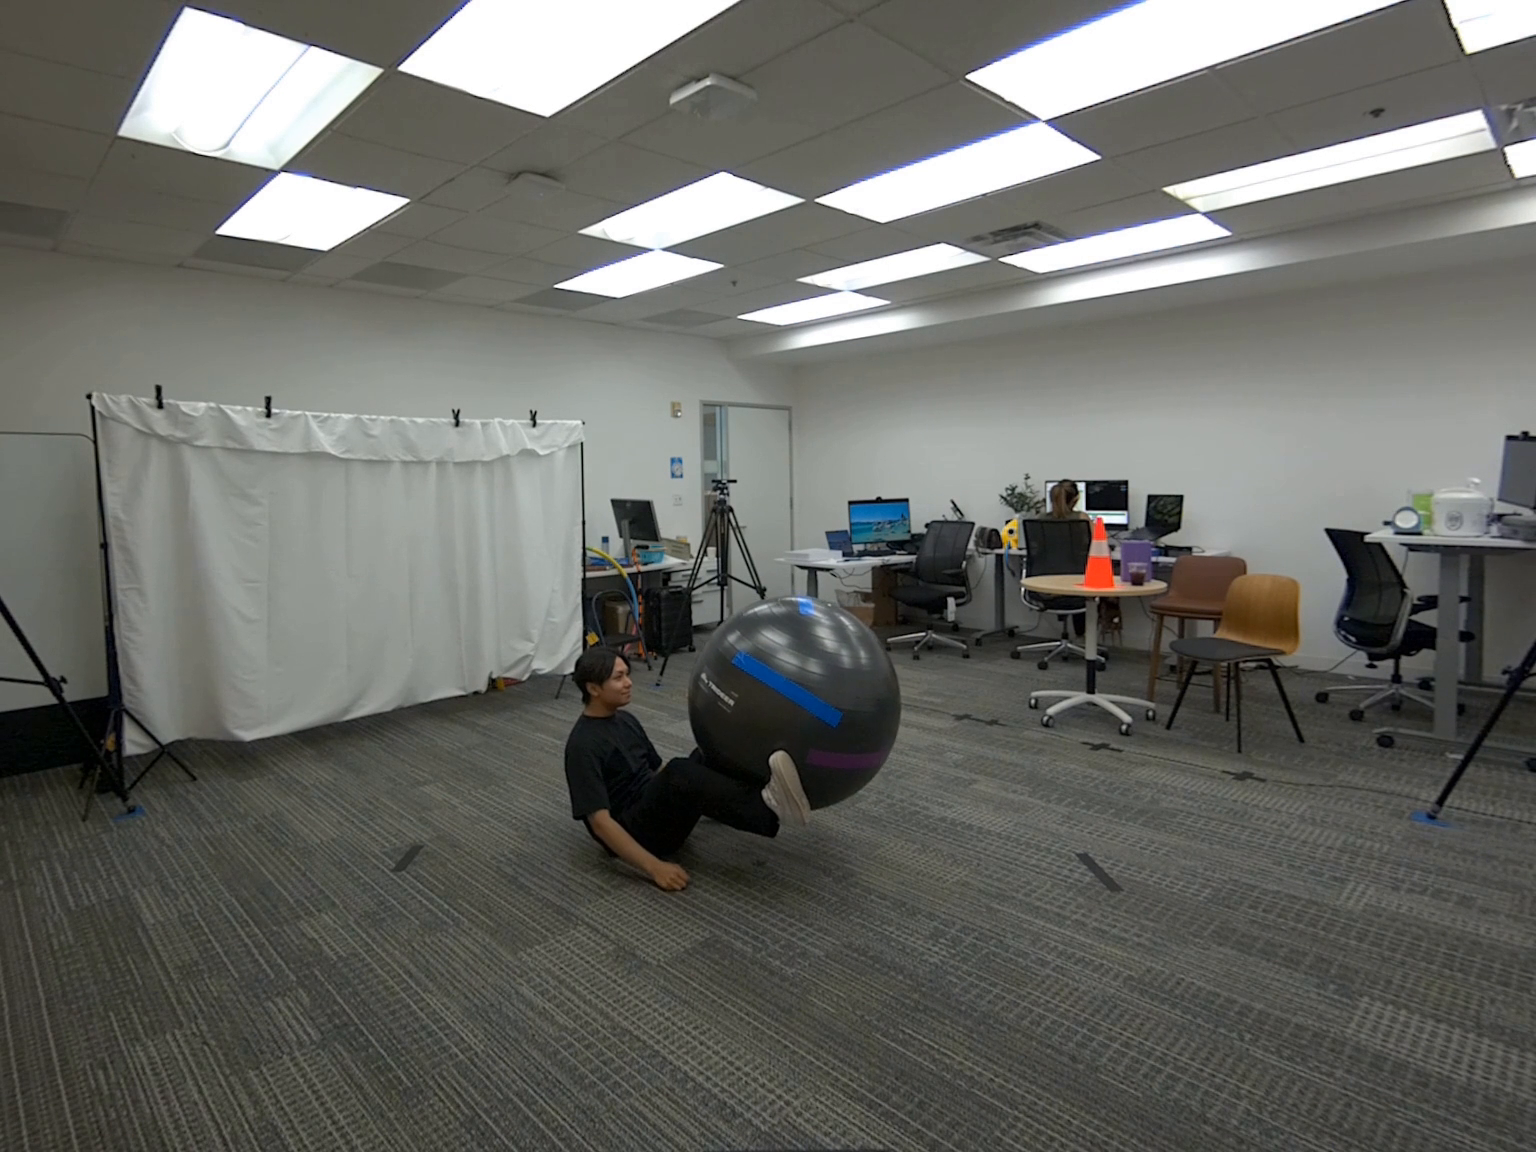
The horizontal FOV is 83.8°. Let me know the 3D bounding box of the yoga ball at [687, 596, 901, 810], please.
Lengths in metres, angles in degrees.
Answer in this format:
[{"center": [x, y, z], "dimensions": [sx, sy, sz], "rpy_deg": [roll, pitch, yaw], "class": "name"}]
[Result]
[{"center": [0.090, 0.454, 3.084], "dimensions": [0.757, 0.755, 0.762], "rpy_deg": [-1, 5, -2], "class": "yoga ball"}]
